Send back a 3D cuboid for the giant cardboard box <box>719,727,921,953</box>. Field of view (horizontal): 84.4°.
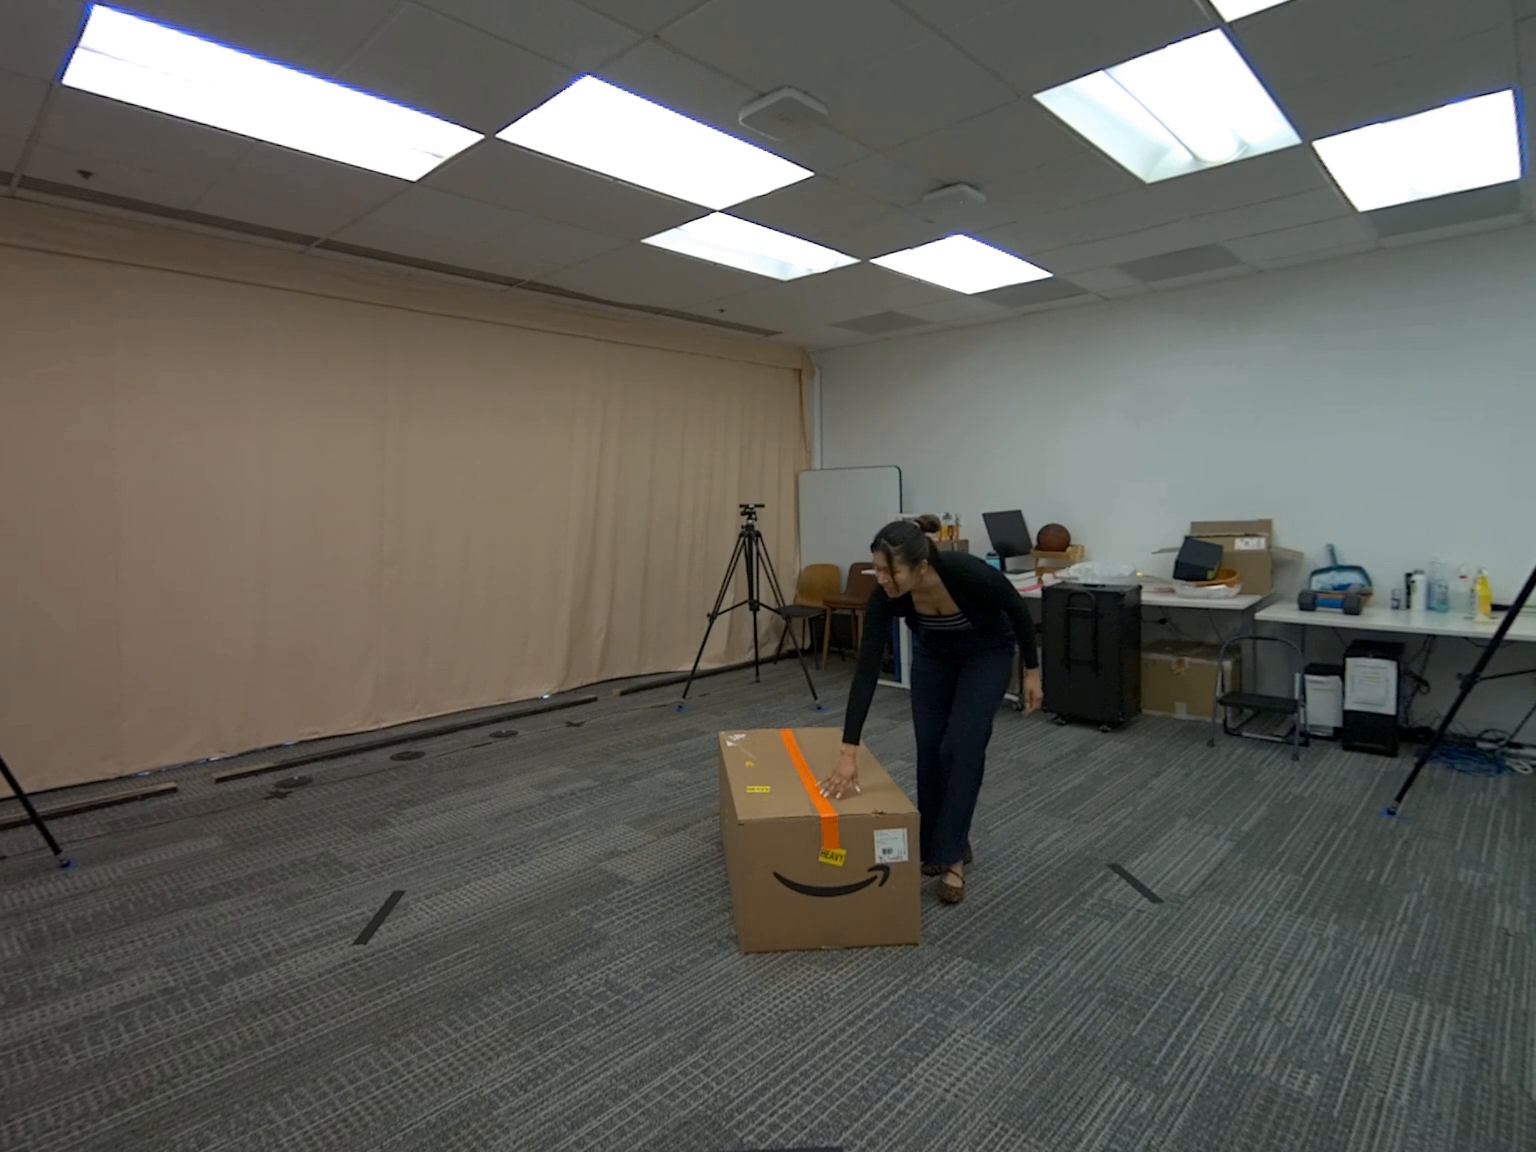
[{"bbox_3d":[0.137,0.909,3.124,0.574,0.425,1.034,-2,5,-6],"label":"giant cardboard box"}]
